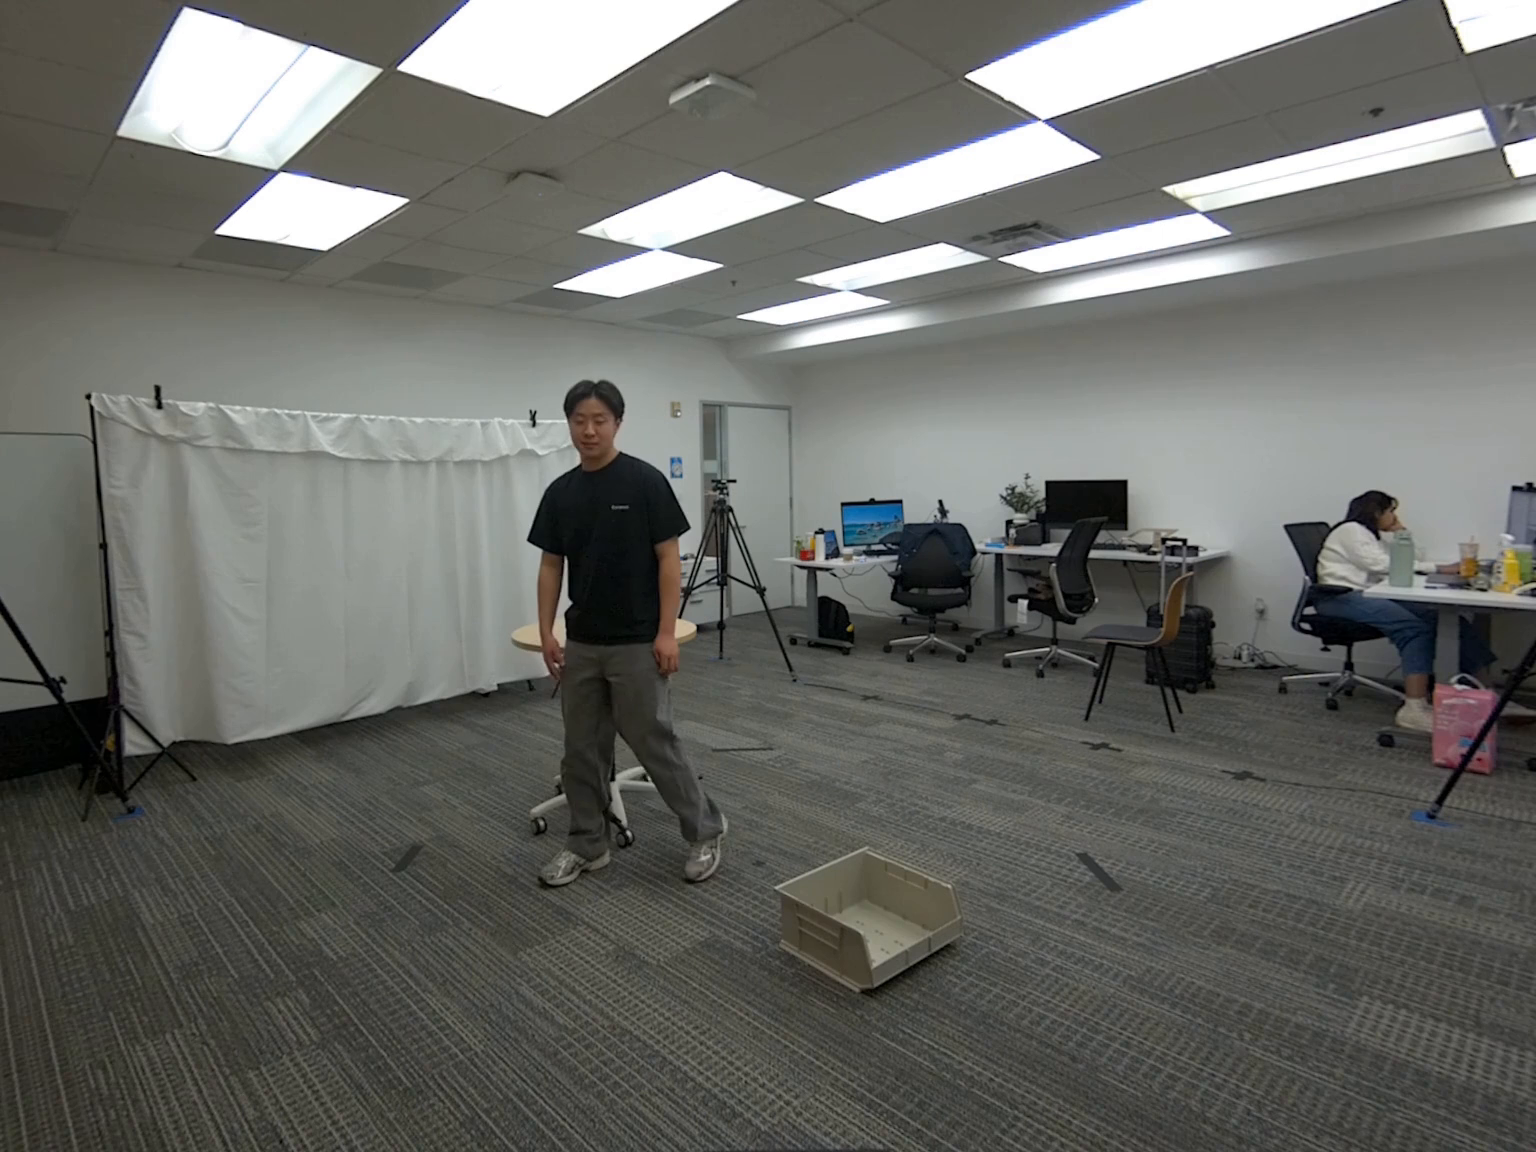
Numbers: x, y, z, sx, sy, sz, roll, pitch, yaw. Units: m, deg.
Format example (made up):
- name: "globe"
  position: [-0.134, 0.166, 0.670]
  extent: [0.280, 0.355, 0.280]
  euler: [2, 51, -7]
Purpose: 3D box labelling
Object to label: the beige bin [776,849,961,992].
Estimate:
- name: "beige bin"
  position: [0.306, 1.017, 2.542]
  extent: [0.411, 0.188, 0.389]
  euler: [-7, 7, -41]
